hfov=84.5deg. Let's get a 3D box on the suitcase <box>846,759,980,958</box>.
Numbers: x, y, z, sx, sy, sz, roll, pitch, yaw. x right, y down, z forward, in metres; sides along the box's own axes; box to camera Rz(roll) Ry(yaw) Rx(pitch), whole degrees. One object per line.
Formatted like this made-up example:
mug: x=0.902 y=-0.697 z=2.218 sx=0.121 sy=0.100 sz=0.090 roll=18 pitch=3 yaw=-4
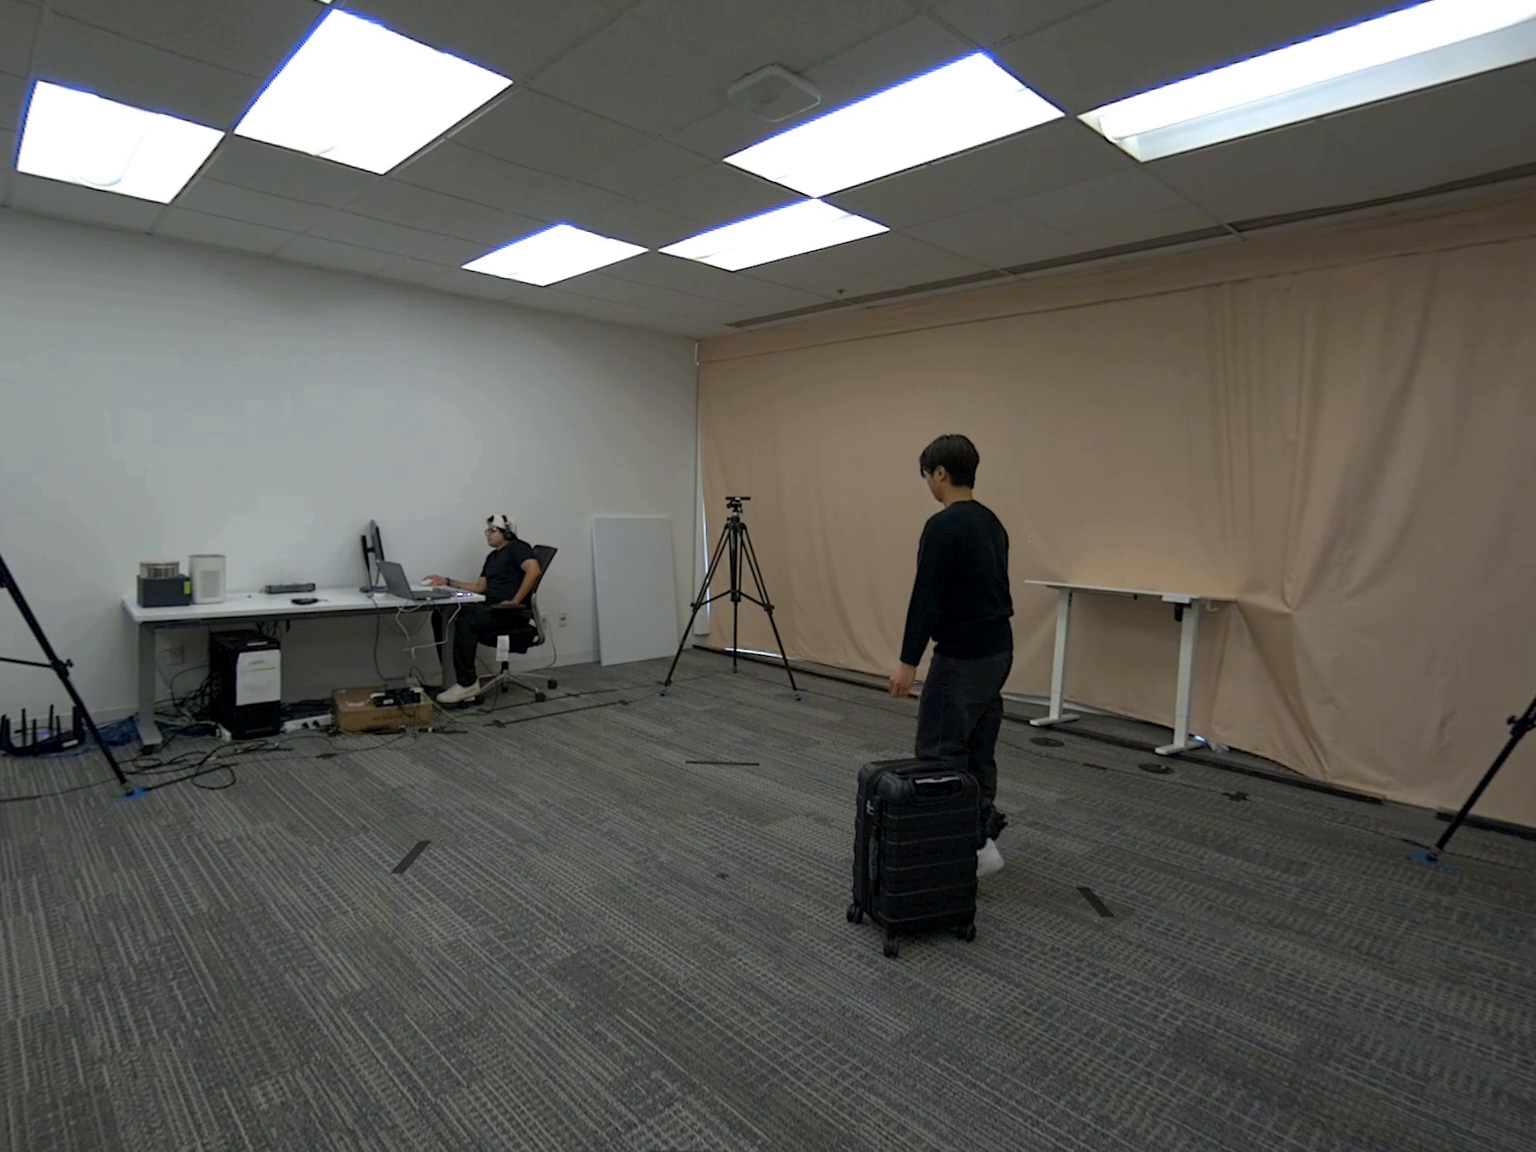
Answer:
suitcase: x=0.472 y=0.878 z=2.738 sx=0.369 sy=0.549 sz=0.253 roll=1 pitch=2 yaw=-22
